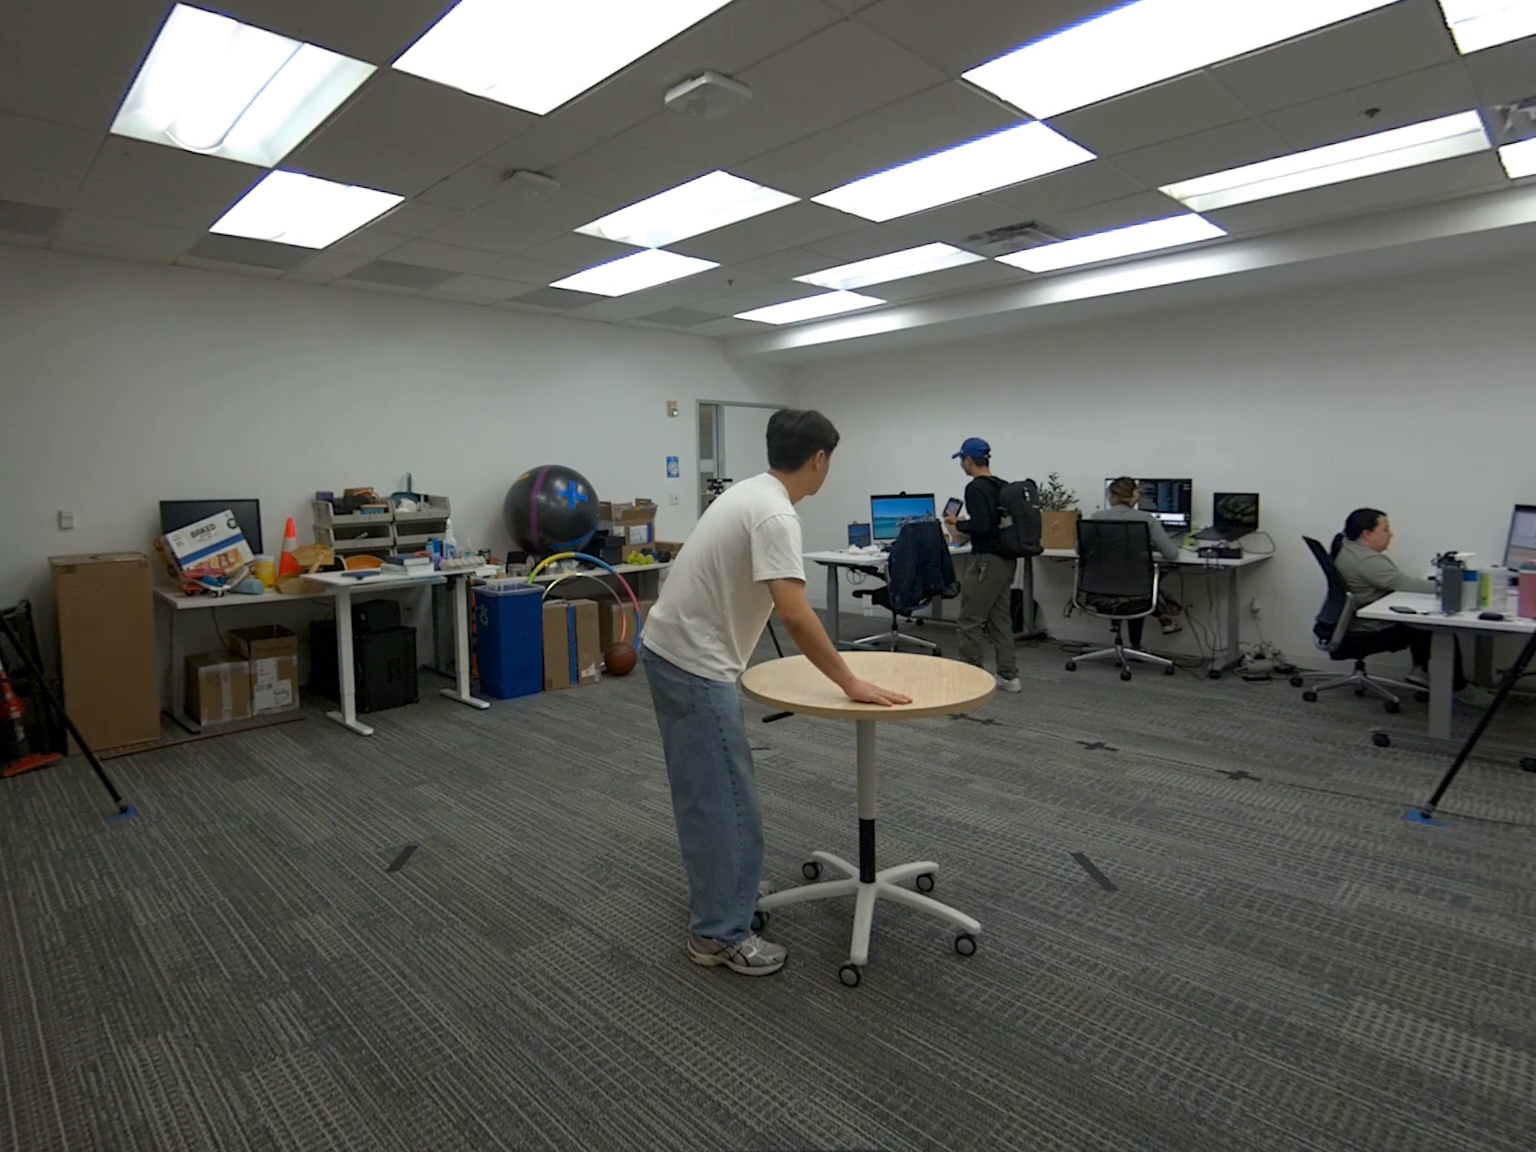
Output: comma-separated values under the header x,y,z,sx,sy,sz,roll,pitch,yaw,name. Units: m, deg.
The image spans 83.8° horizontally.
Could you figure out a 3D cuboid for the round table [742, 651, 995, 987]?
x,y,z,sx,sy,sz,roll,pitch,yaw,name
0.309,0.699,2.660,0.763,0.791,0.768,-1,5,-2,round table
